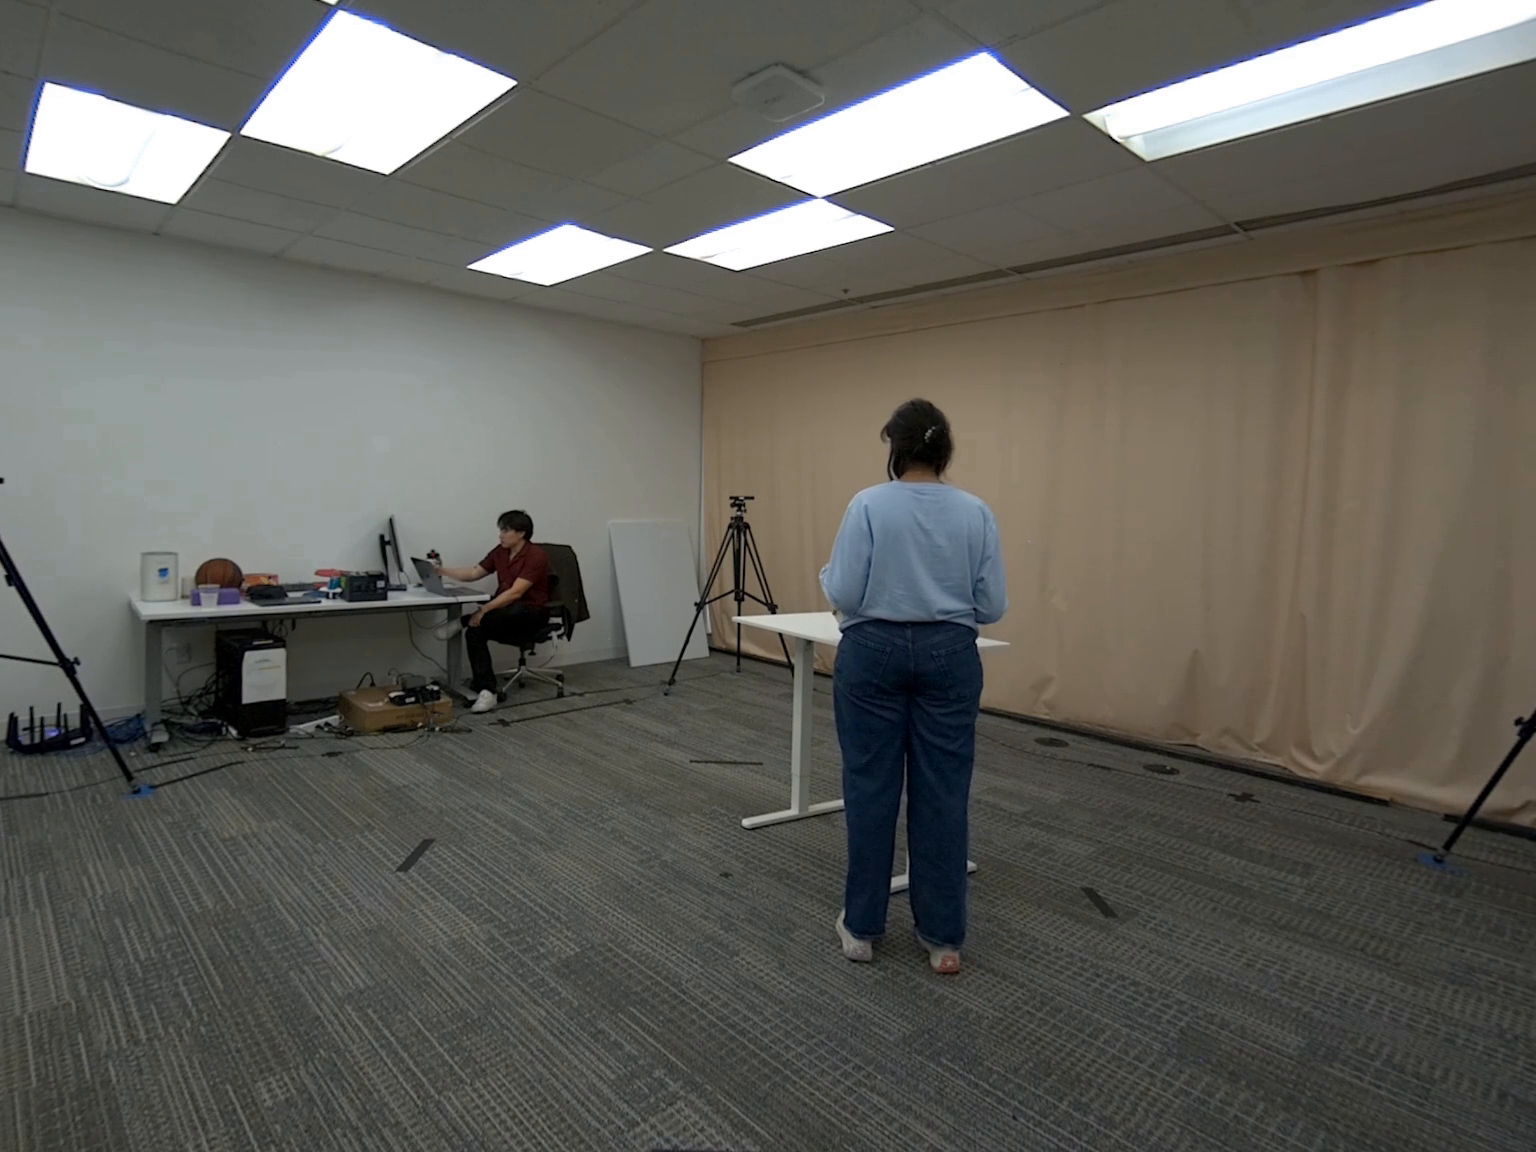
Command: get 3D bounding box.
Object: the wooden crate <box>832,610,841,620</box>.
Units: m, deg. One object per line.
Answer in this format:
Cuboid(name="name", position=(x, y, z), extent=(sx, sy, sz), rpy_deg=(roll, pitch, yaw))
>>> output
Cuboid(name="wooden crate", position=(0.411, 0.046, 2.905), extent=(0.323, 0.271, 0.306), rpy_deg=(5, 13, -6))
